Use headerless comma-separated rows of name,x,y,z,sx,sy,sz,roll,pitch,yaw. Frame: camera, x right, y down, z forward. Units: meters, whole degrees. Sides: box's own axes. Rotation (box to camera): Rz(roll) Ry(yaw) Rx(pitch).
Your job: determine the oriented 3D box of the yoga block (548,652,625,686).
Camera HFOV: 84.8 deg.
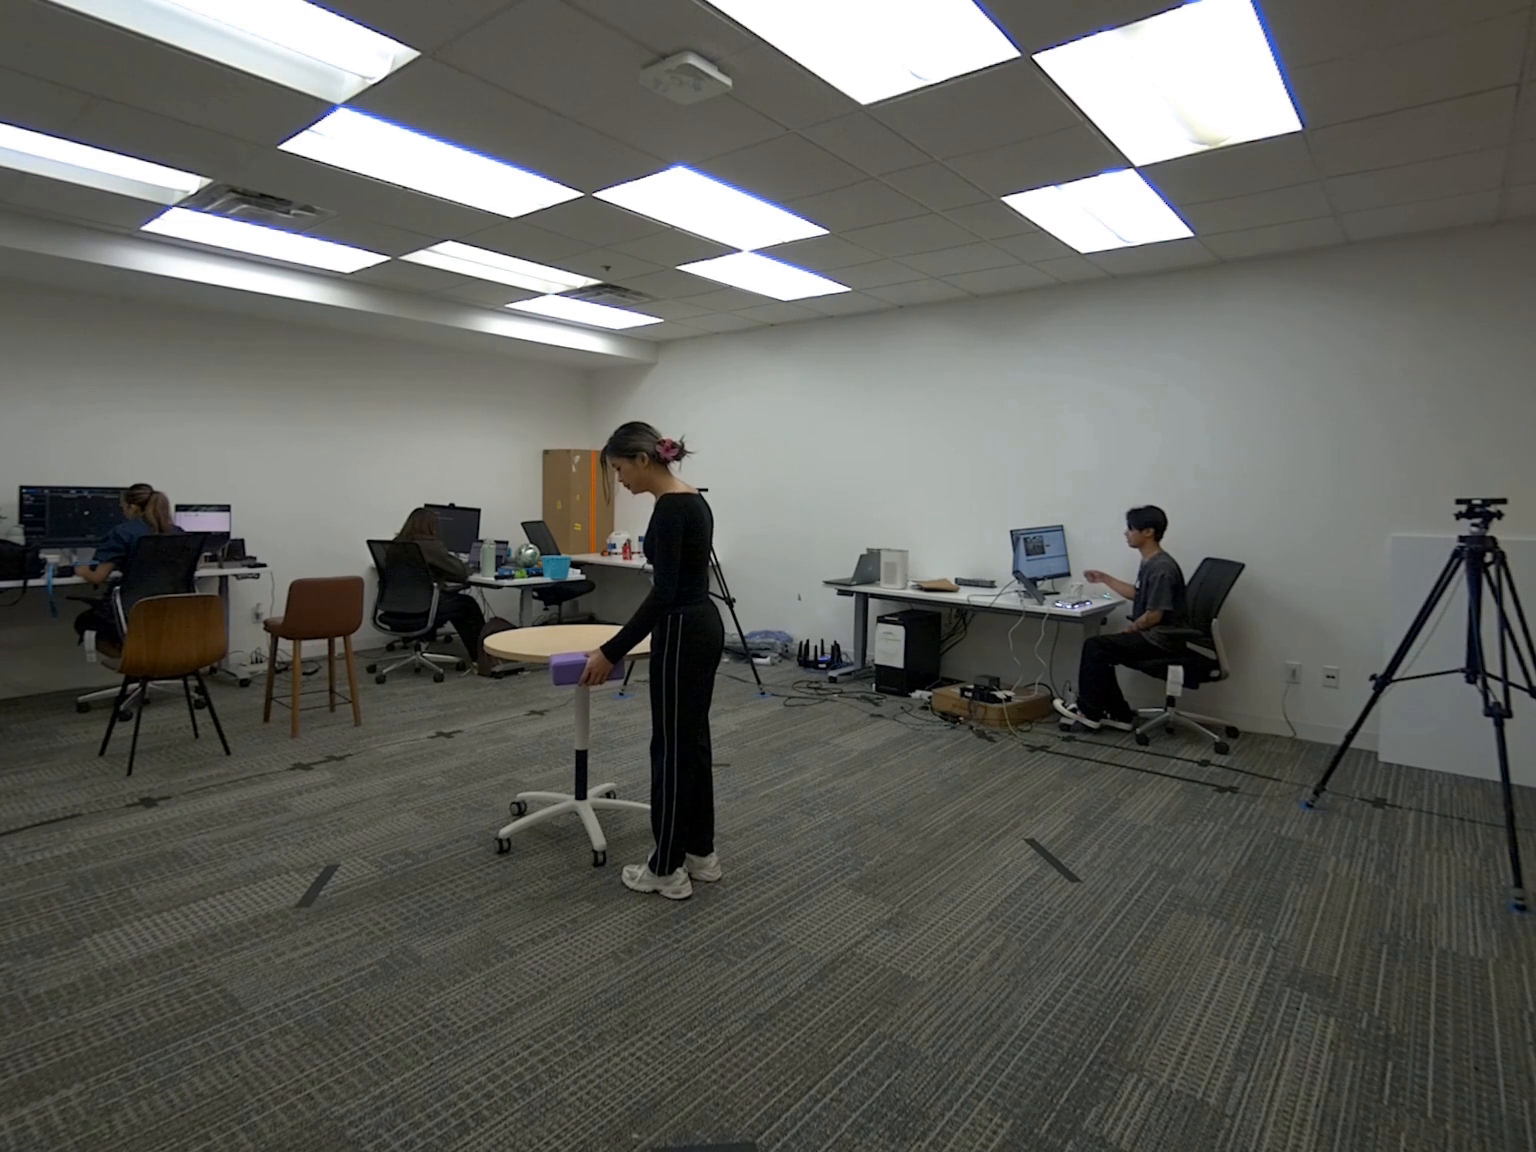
yoga block,-0.602,0.296,2.782,0.226,0.076,0.152,-4,7,-16
